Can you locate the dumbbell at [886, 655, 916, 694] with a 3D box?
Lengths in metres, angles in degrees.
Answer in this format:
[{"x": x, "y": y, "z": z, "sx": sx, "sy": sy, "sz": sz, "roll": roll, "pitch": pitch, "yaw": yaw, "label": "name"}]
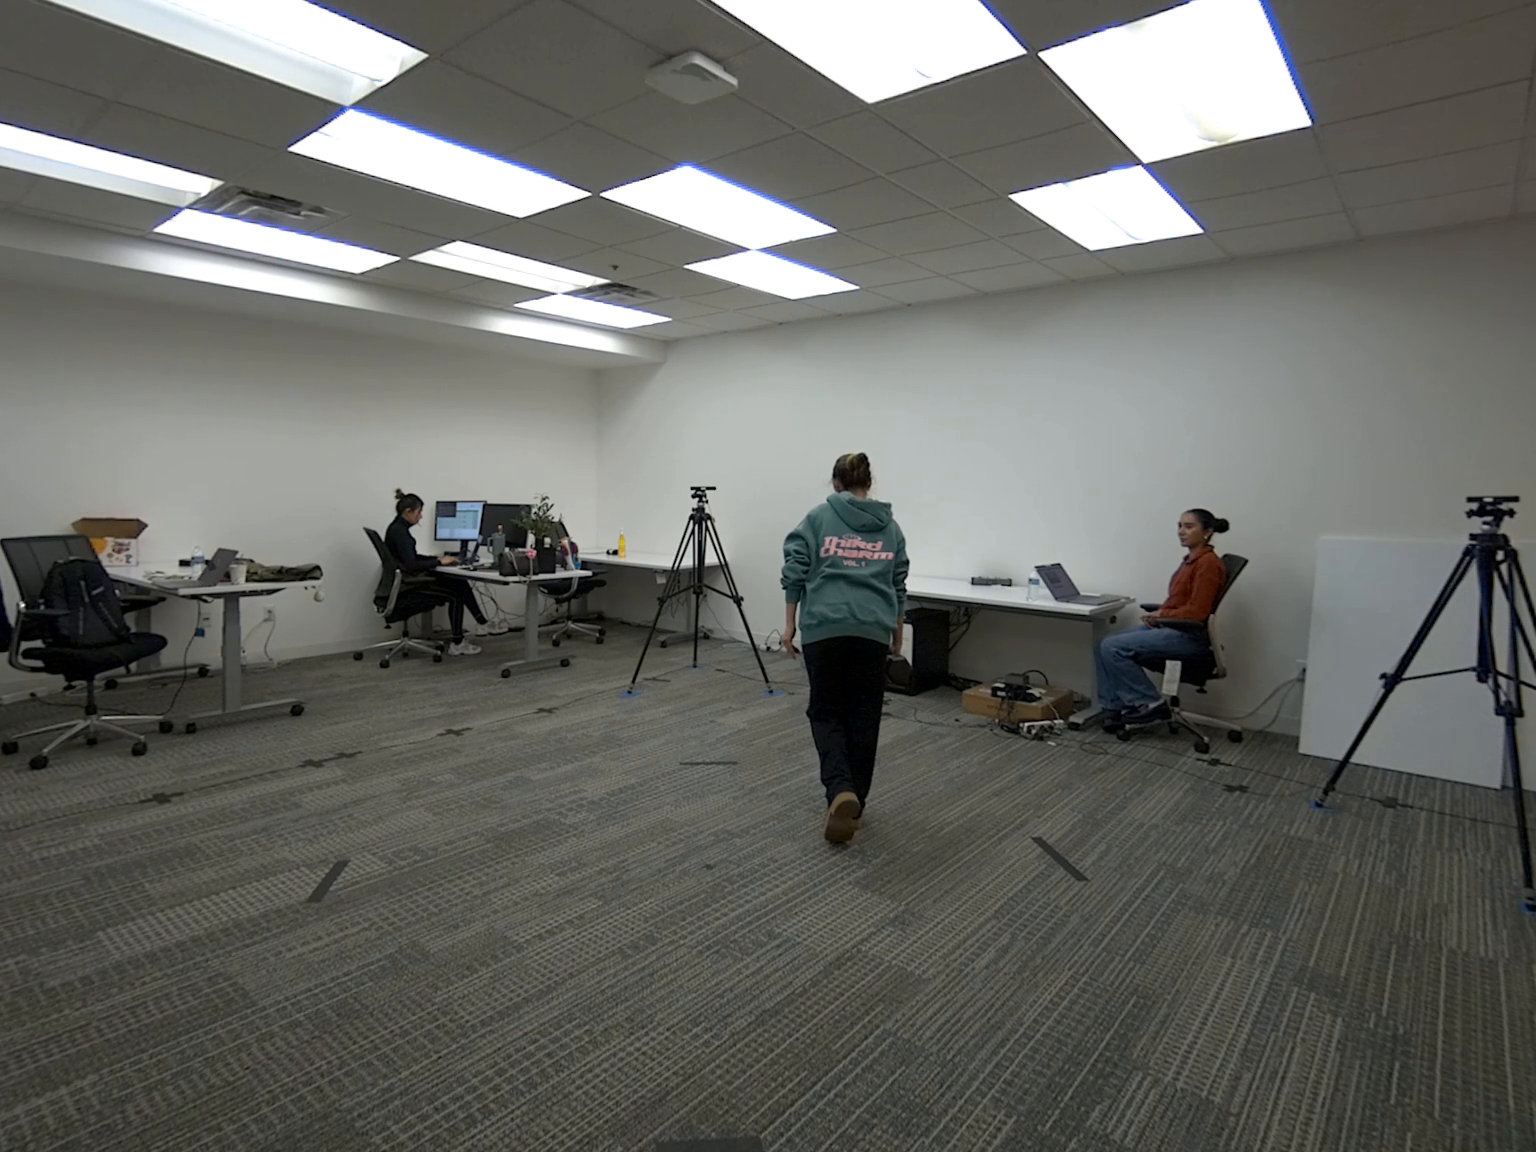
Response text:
[{"x": 0.502, "y": 0.374, "z": 3.641, "sx": 0.107, "sy": 0.123, "sz": 0.297, "roll": 26, "pitch": -1, "yaw": -11, "label": "dumbbell"}]
